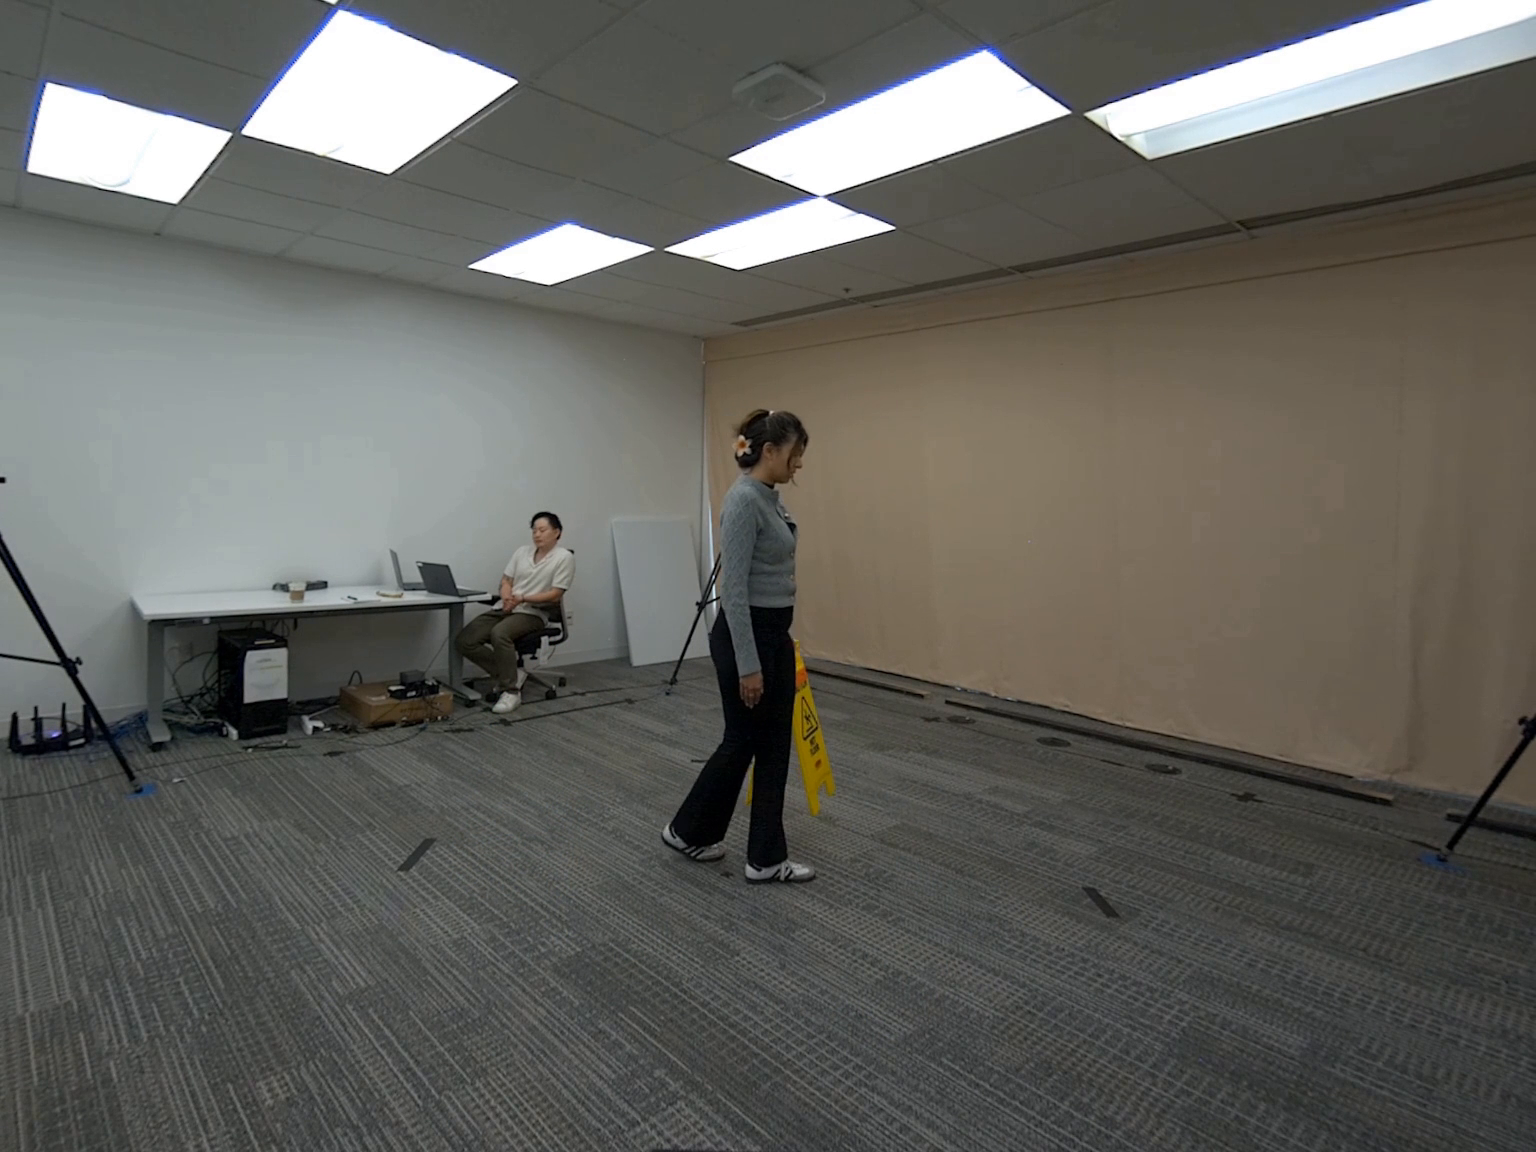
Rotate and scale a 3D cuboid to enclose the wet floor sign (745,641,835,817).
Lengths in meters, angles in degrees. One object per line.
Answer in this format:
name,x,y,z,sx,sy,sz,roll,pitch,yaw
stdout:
wet floor sign,0.083,0.593,3.413,0.295,0.642,0.279,2,8,23
